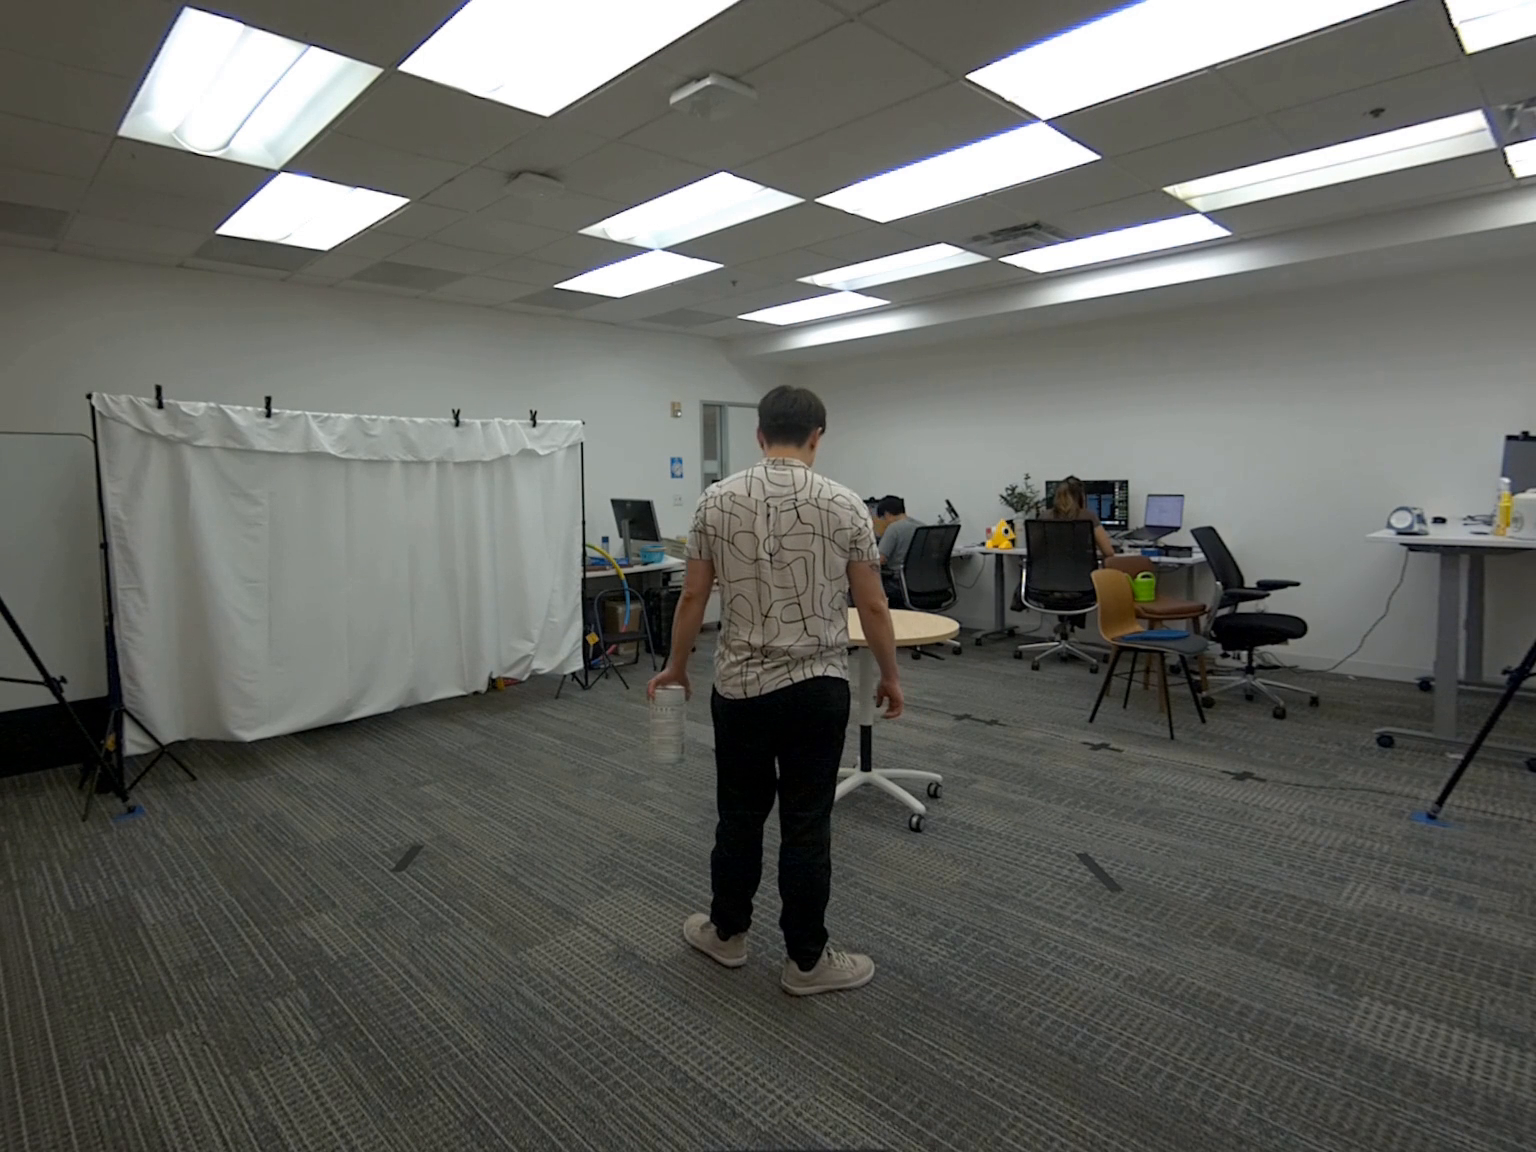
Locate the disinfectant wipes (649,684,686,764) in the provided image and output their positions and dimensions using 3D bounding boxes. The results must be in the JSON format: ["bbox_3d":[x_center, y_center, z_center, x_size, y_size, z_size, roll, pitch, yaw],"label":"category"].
[{"bbox_3d":[-0.287,0.442,2.524,0.118,0.218,0.117,0,-3,-2],"label":"disinfectant wipes"}]
